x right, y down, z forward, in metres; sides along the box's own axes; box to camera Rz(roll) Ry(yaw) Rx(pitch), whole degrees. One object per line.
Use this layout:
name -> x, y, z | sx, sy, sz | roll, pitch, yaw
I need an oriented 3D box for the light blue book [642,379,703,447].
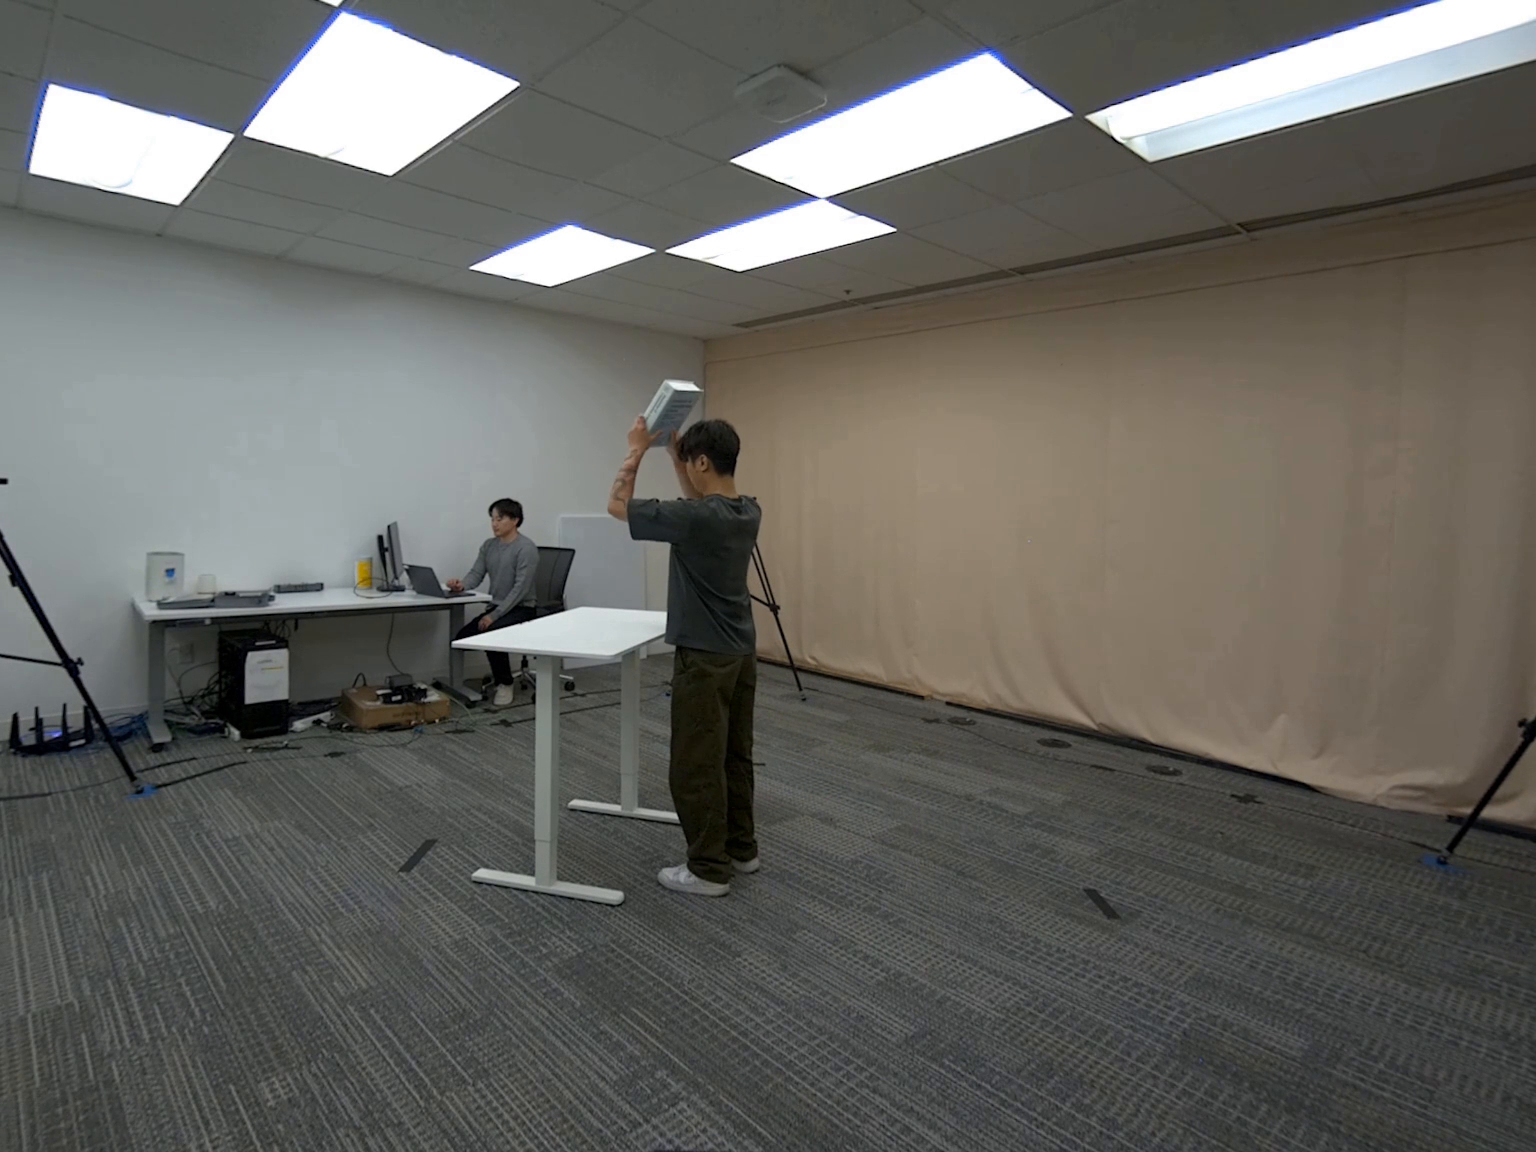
light blue book -> -0.374, -0.581, 3.068 | 0.060, 0.260, 0.188 | 43, 27, 17
